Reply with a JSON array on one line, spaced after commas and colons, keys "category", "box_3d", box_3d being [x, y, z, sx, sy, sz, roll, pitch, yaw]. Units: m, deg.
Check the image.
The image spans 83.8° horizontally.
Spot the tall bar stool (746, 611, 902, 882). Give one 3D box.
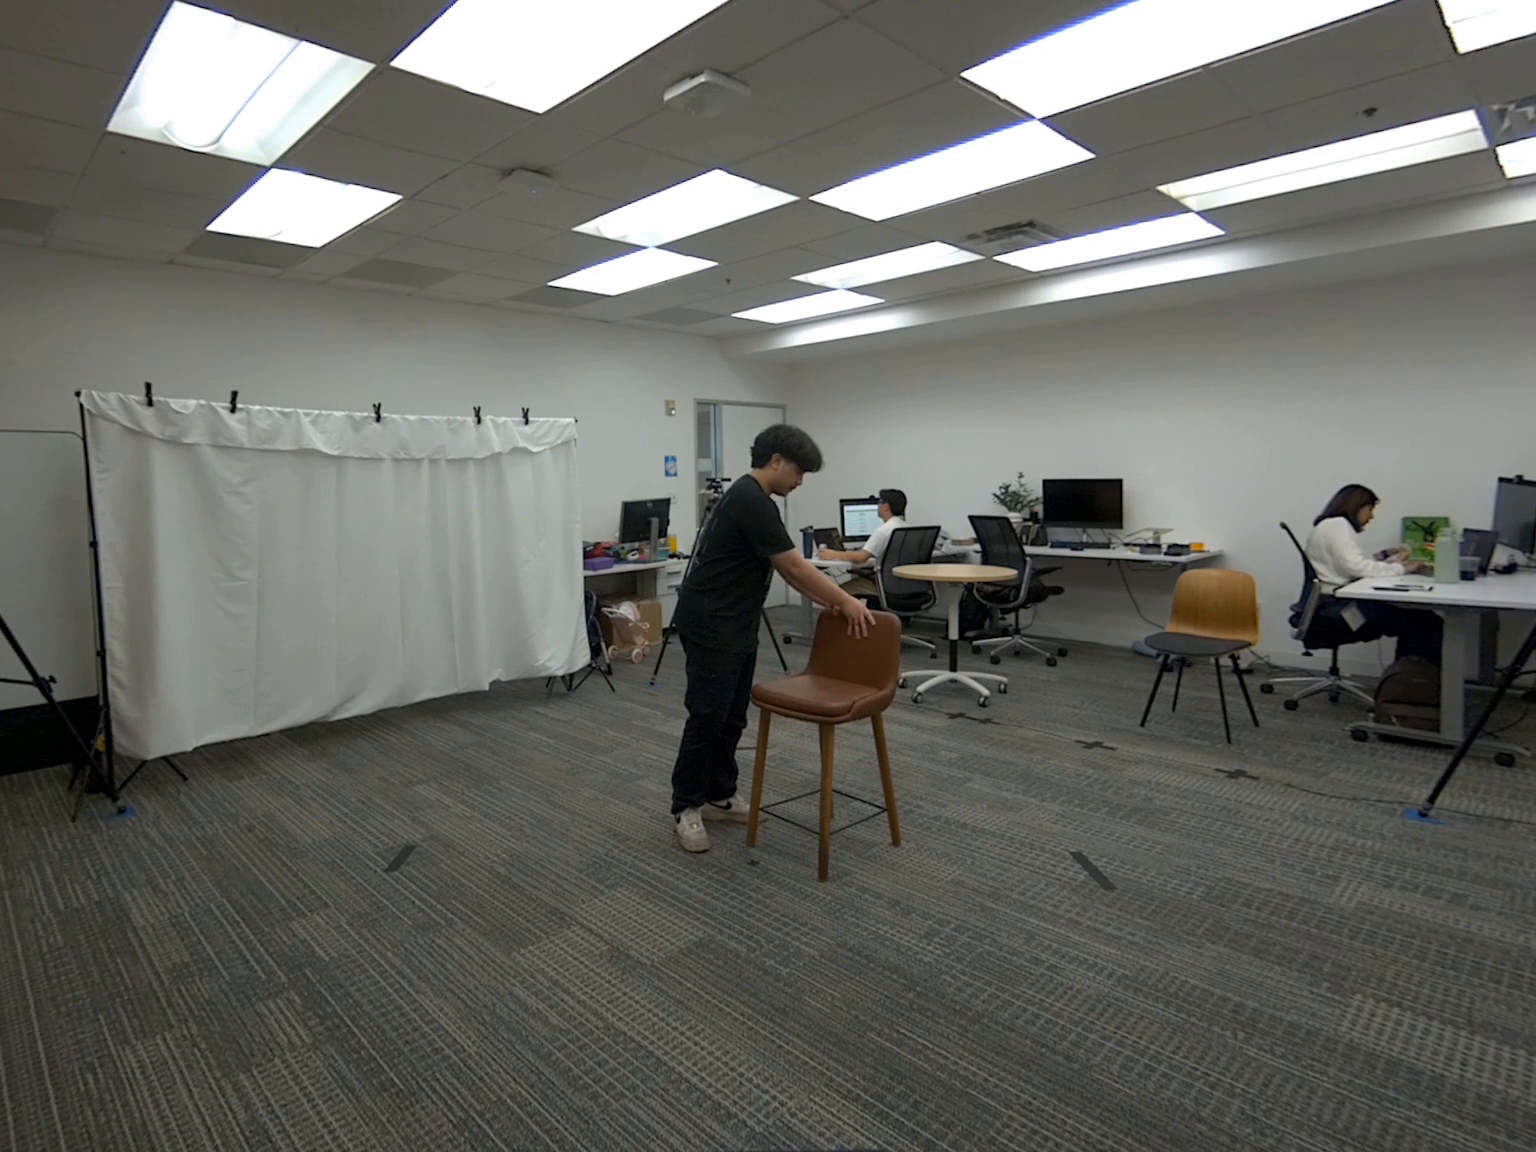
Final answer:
[{"category": "tall bar stool", "box_3d": [0.225, 0.586, 3.216, 0.454, 0.888, 0.470, -1, 3, -40]}]
